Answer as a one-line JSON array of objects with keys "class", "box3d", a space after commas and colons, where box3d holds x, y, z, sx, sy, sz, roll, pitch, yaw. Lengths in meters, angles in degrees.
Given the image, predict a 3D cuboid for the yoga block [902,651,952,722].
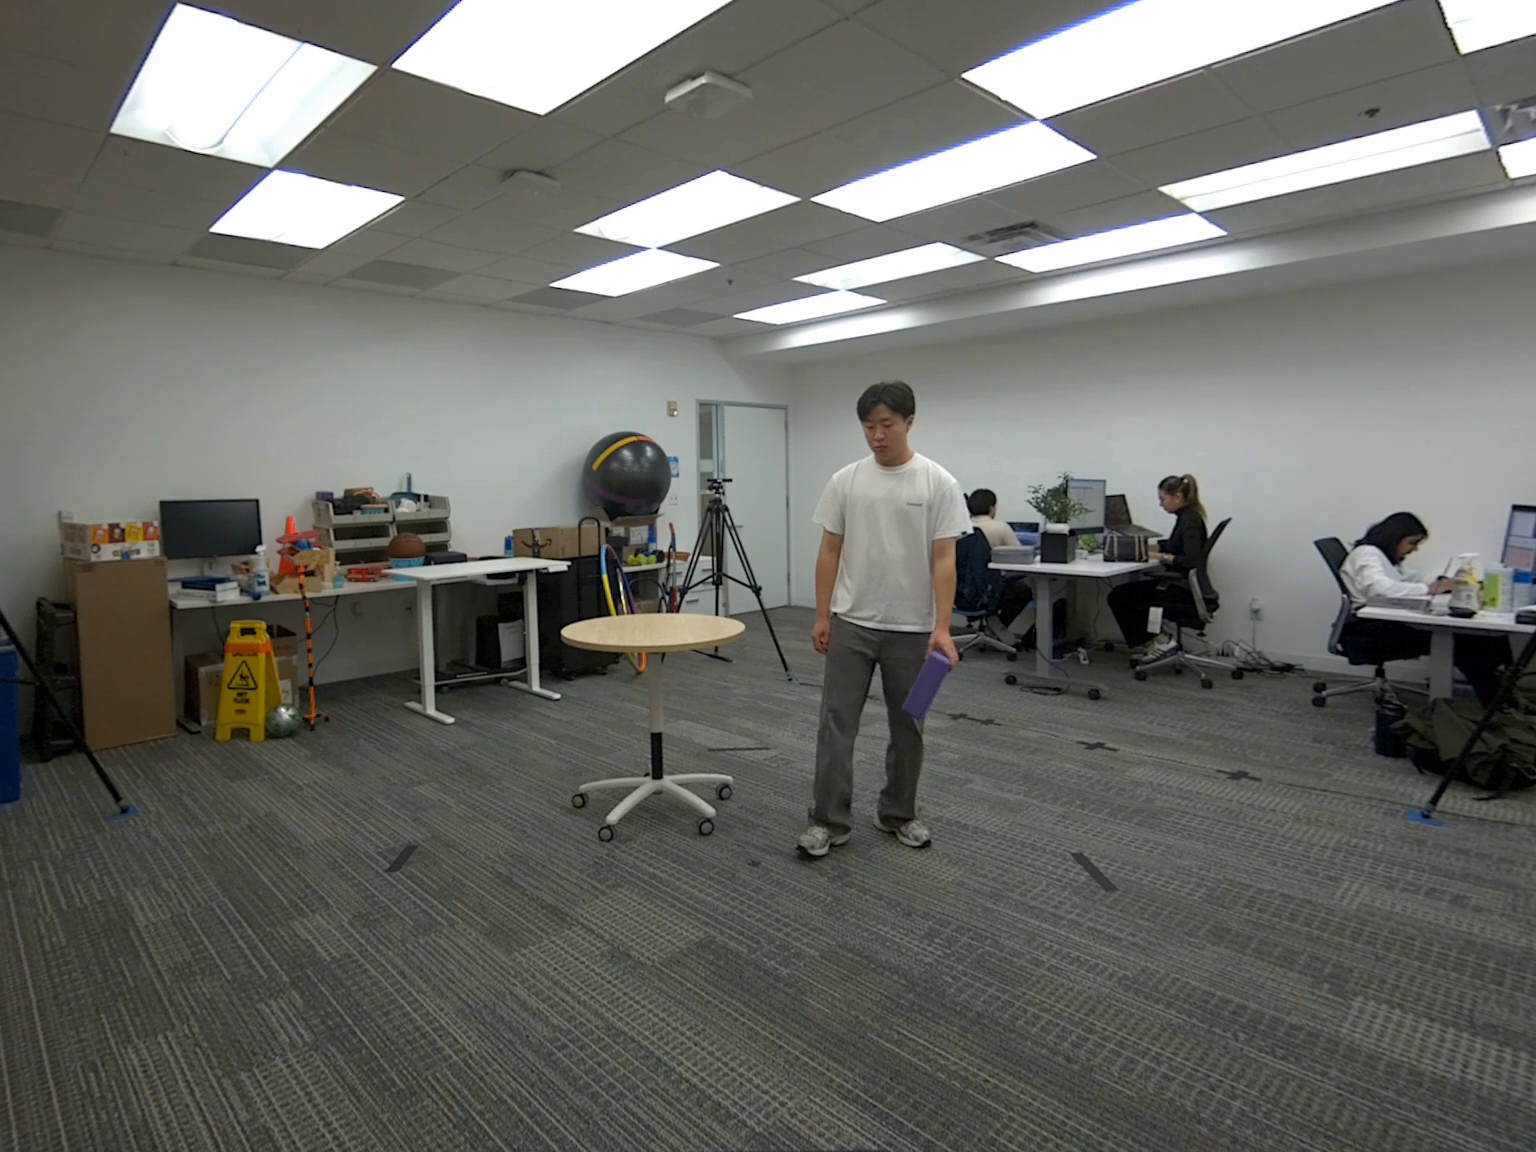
[{"class": "yoga block", "box3d": [0.561, 0.383, 3.013, 0.078, 0.228, 0.147, 22, 8, 11]}]
